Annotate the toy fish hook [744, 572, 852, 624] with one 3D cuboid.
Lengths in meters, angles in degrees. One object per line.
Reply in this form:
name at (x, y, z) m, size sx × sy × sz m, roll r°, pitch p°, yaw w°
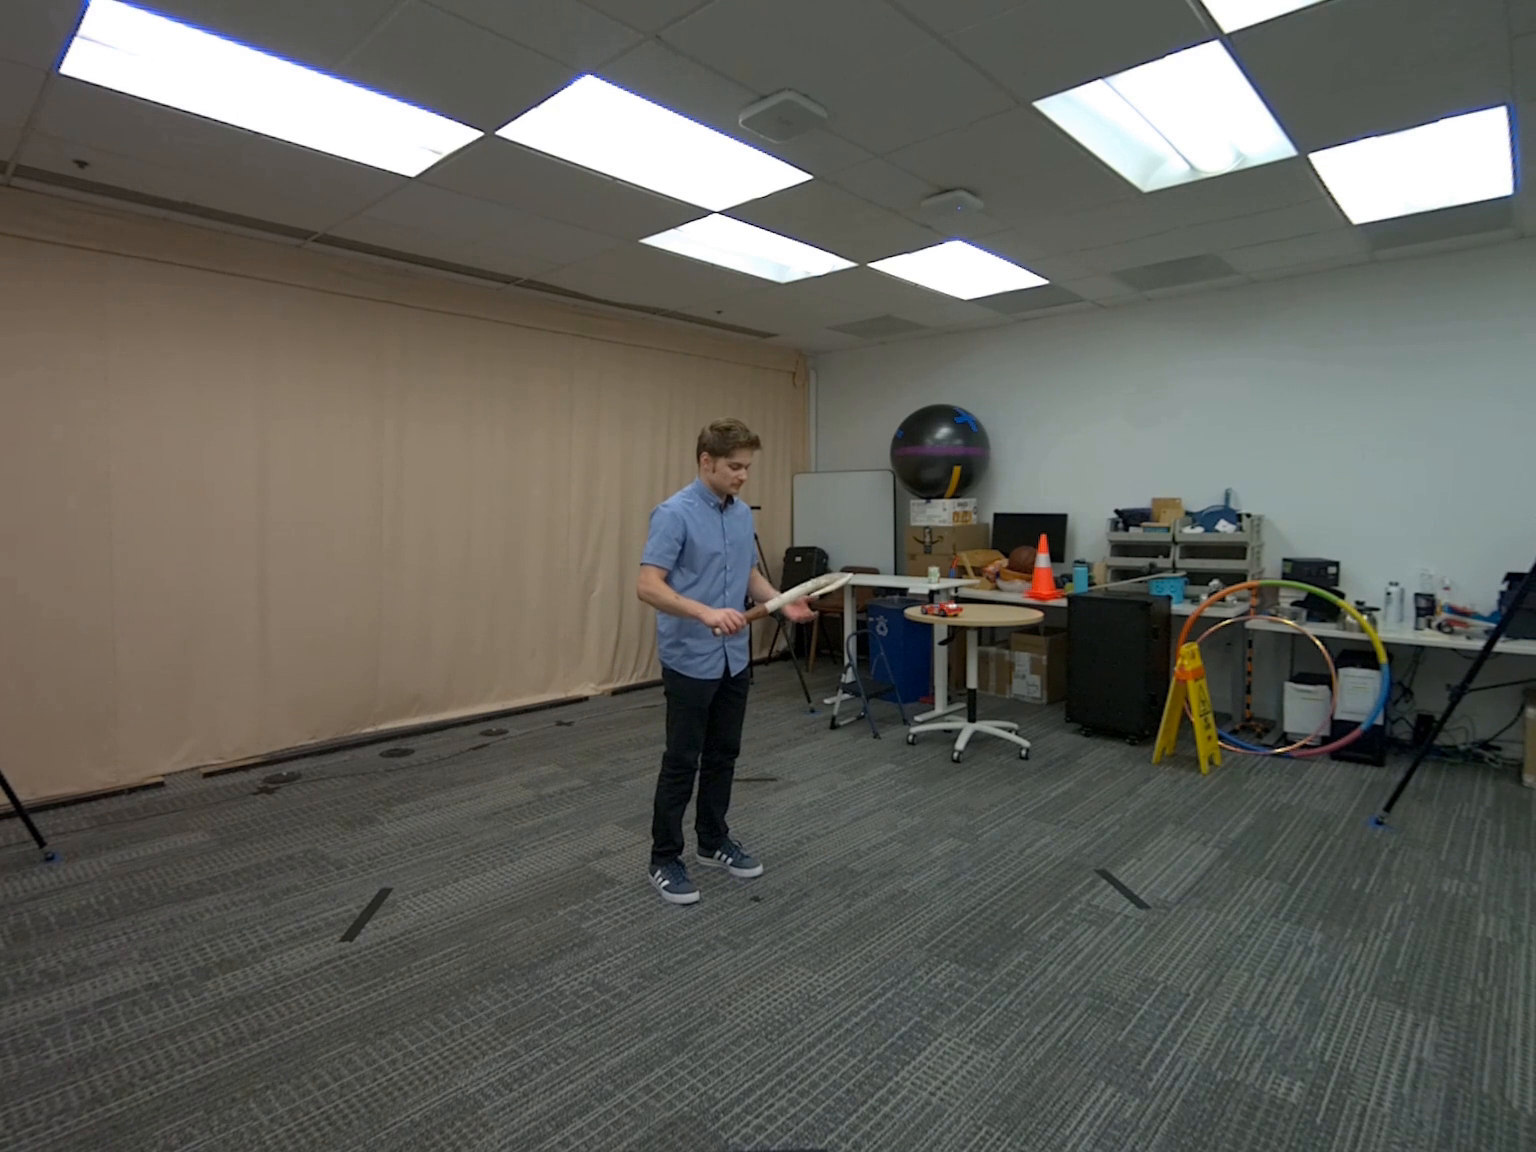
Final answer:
toy fish hook at (0.049, 0.103, 2.773) m, size 0.503 × 0.048 × 0.227 m, roll -23°, pitch 4°, yaw -10°
